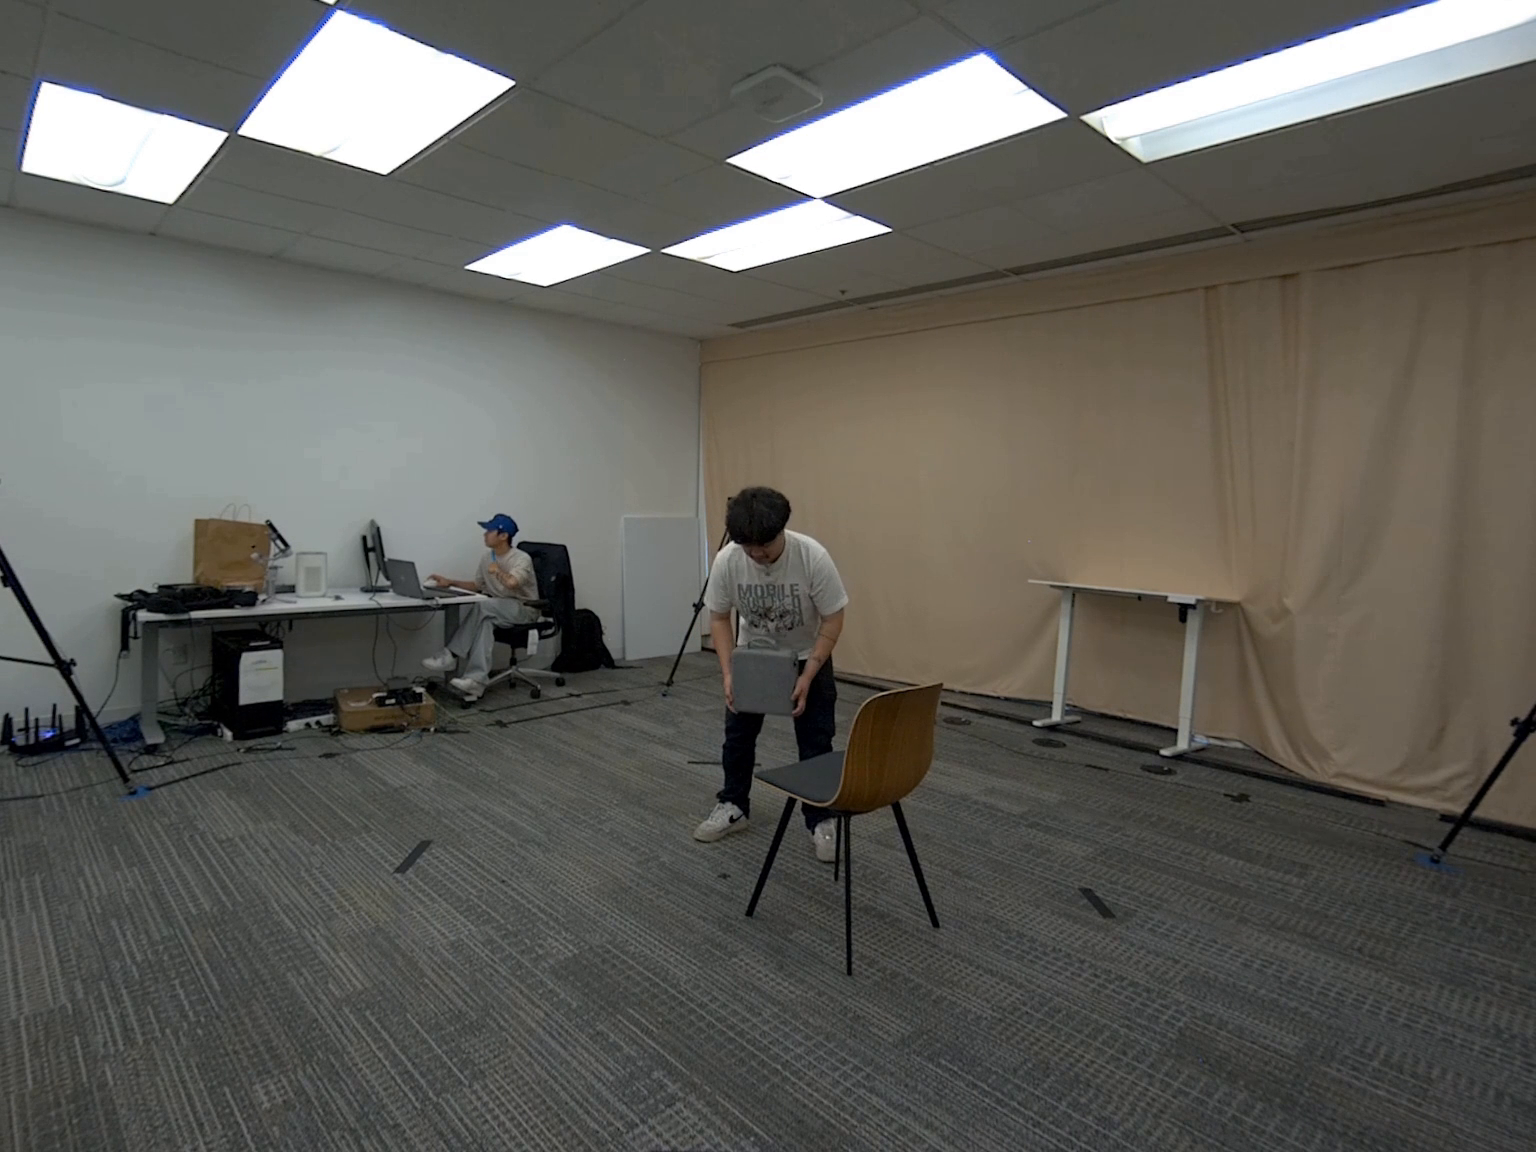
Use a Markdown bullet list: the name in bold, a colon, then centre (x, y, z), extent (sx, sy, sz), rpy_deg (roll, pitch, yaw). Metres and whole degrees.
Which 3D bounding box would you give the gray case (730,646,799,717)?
- **gray case**: centre (-0.023, 0.396, 3.236), extent (0.261, 0.259, 0.103), rpy_deg (1, 9, 20)
